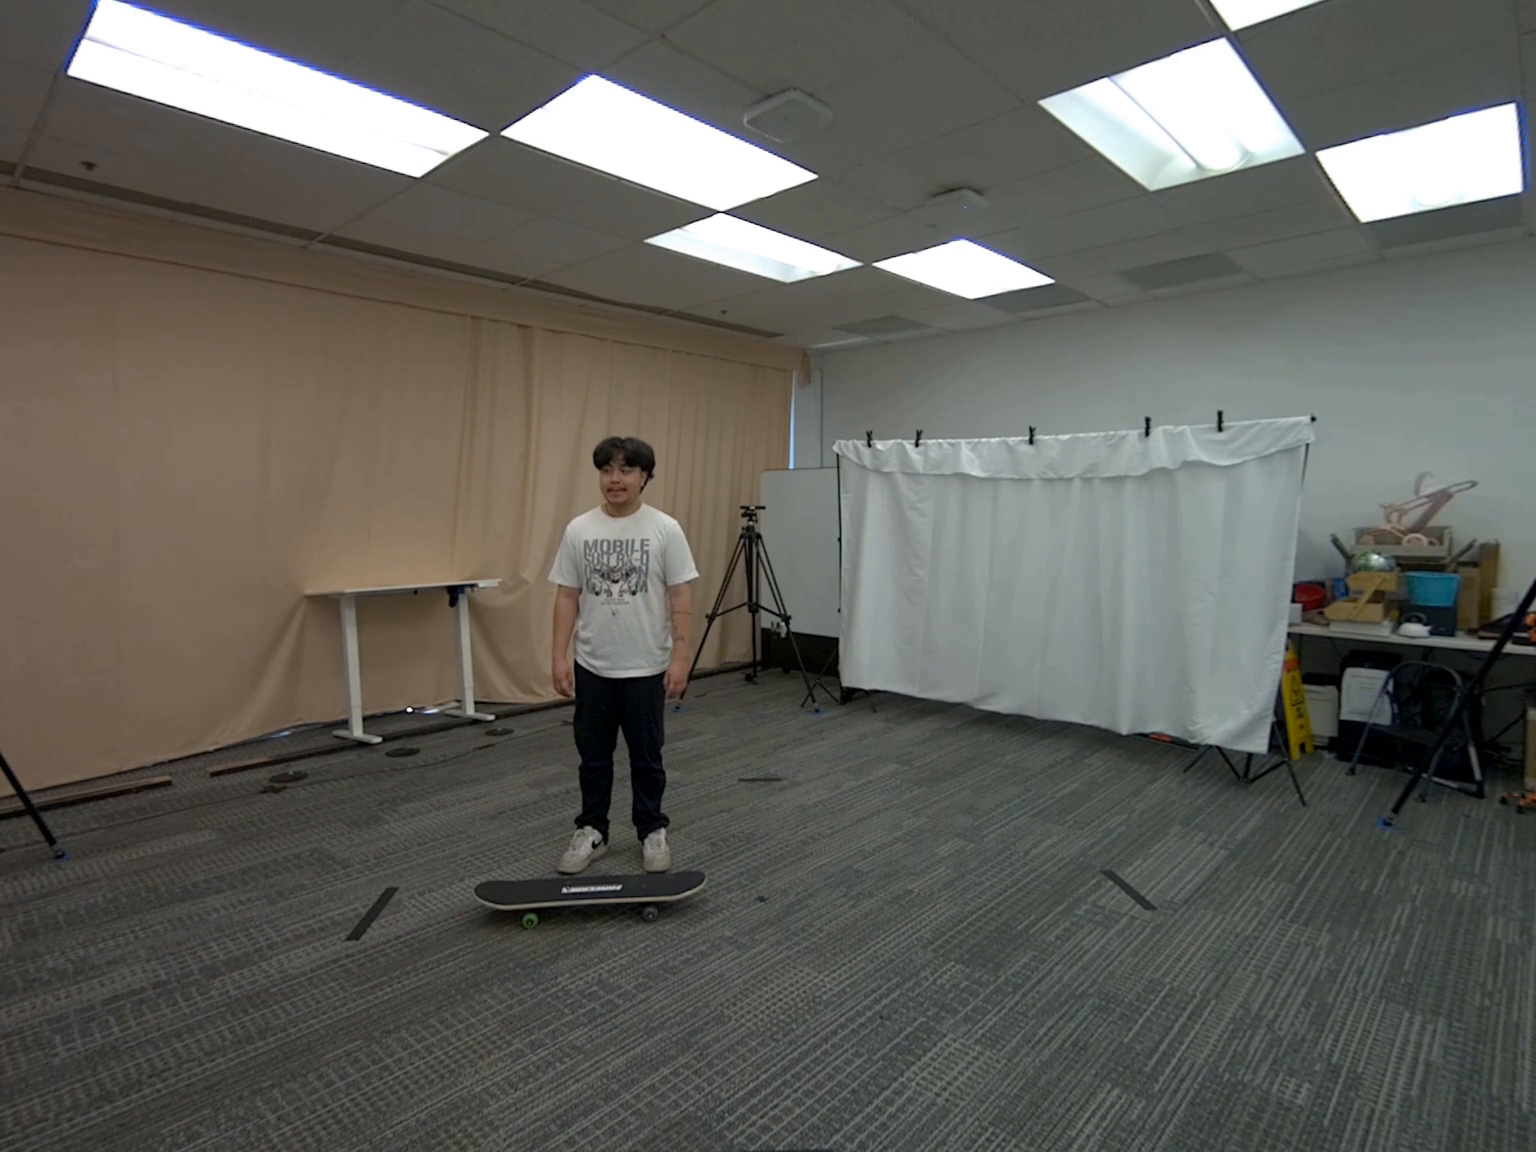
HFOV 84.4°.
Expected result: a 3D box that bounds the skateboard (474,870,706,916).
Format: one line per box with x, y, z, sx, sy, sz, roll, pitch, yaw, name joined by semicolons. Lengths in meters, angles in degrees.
-0.599;1.098;2.881;0.780;0.110;0.195;-1;6;-6;skateboard
